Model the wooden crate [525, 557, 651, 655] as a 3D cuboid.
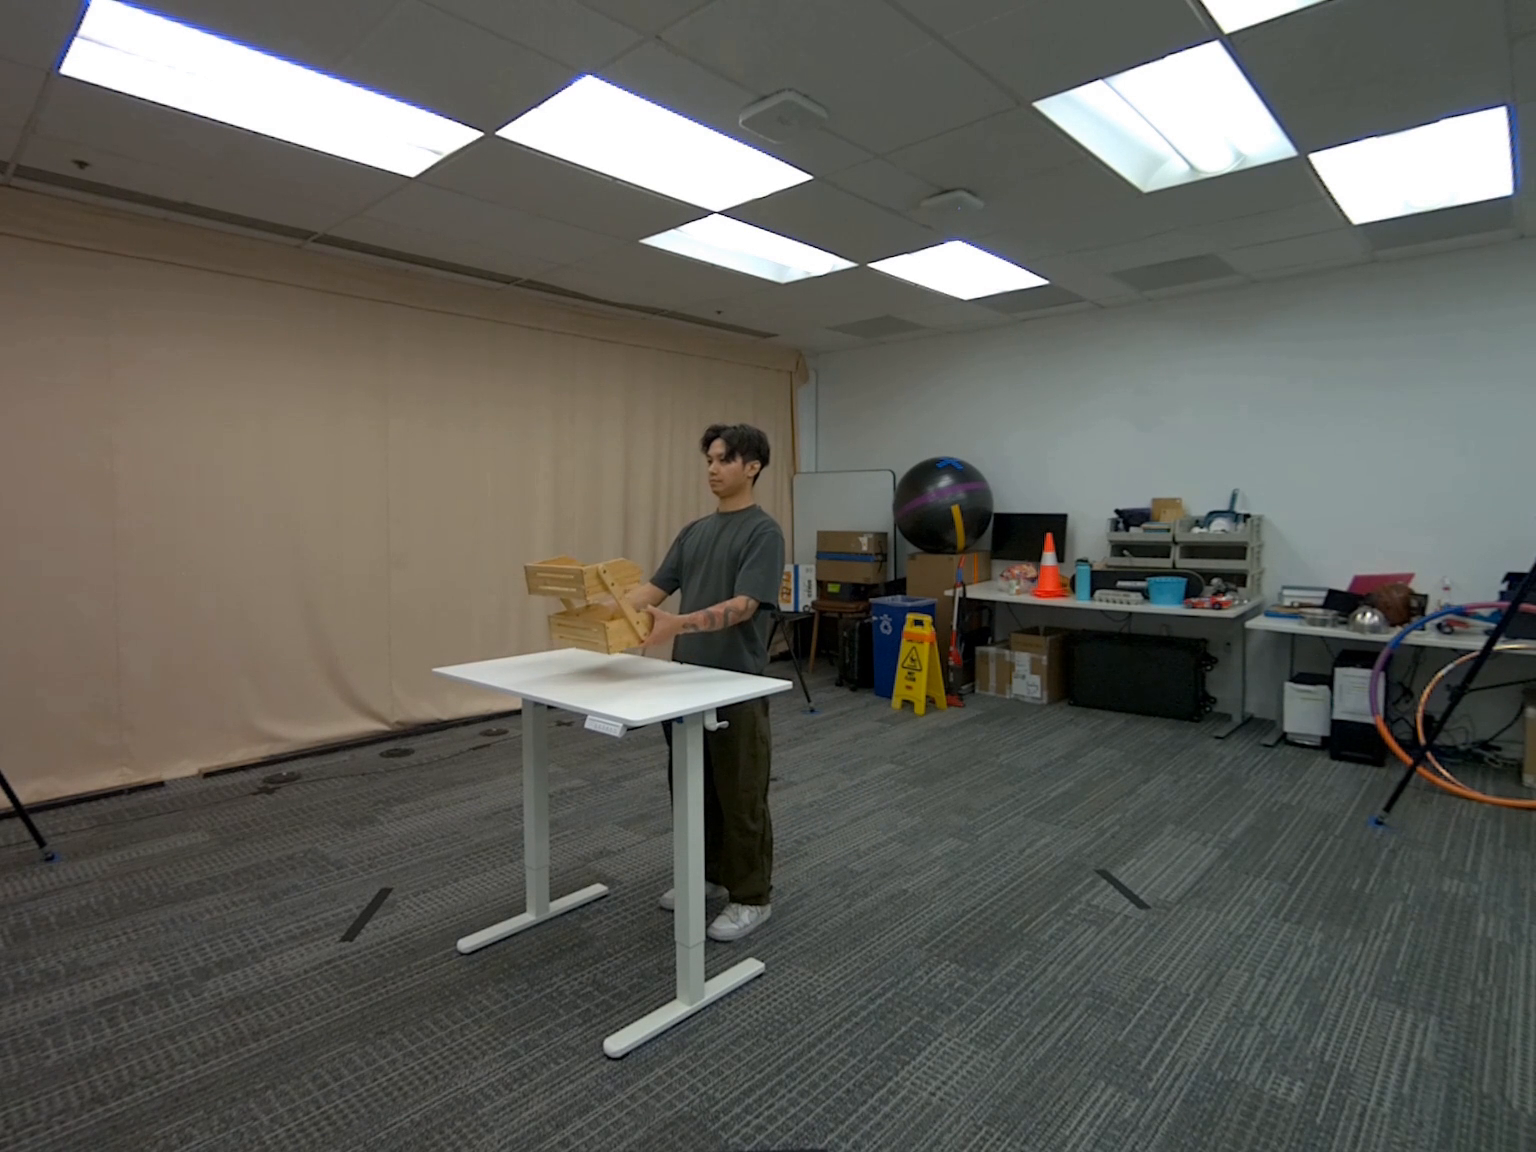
[{"bbox_3d":[-0.504,0.067,2.522,0.335,0.271,0.294,2,13,44],"label":"wooden crate"}]
